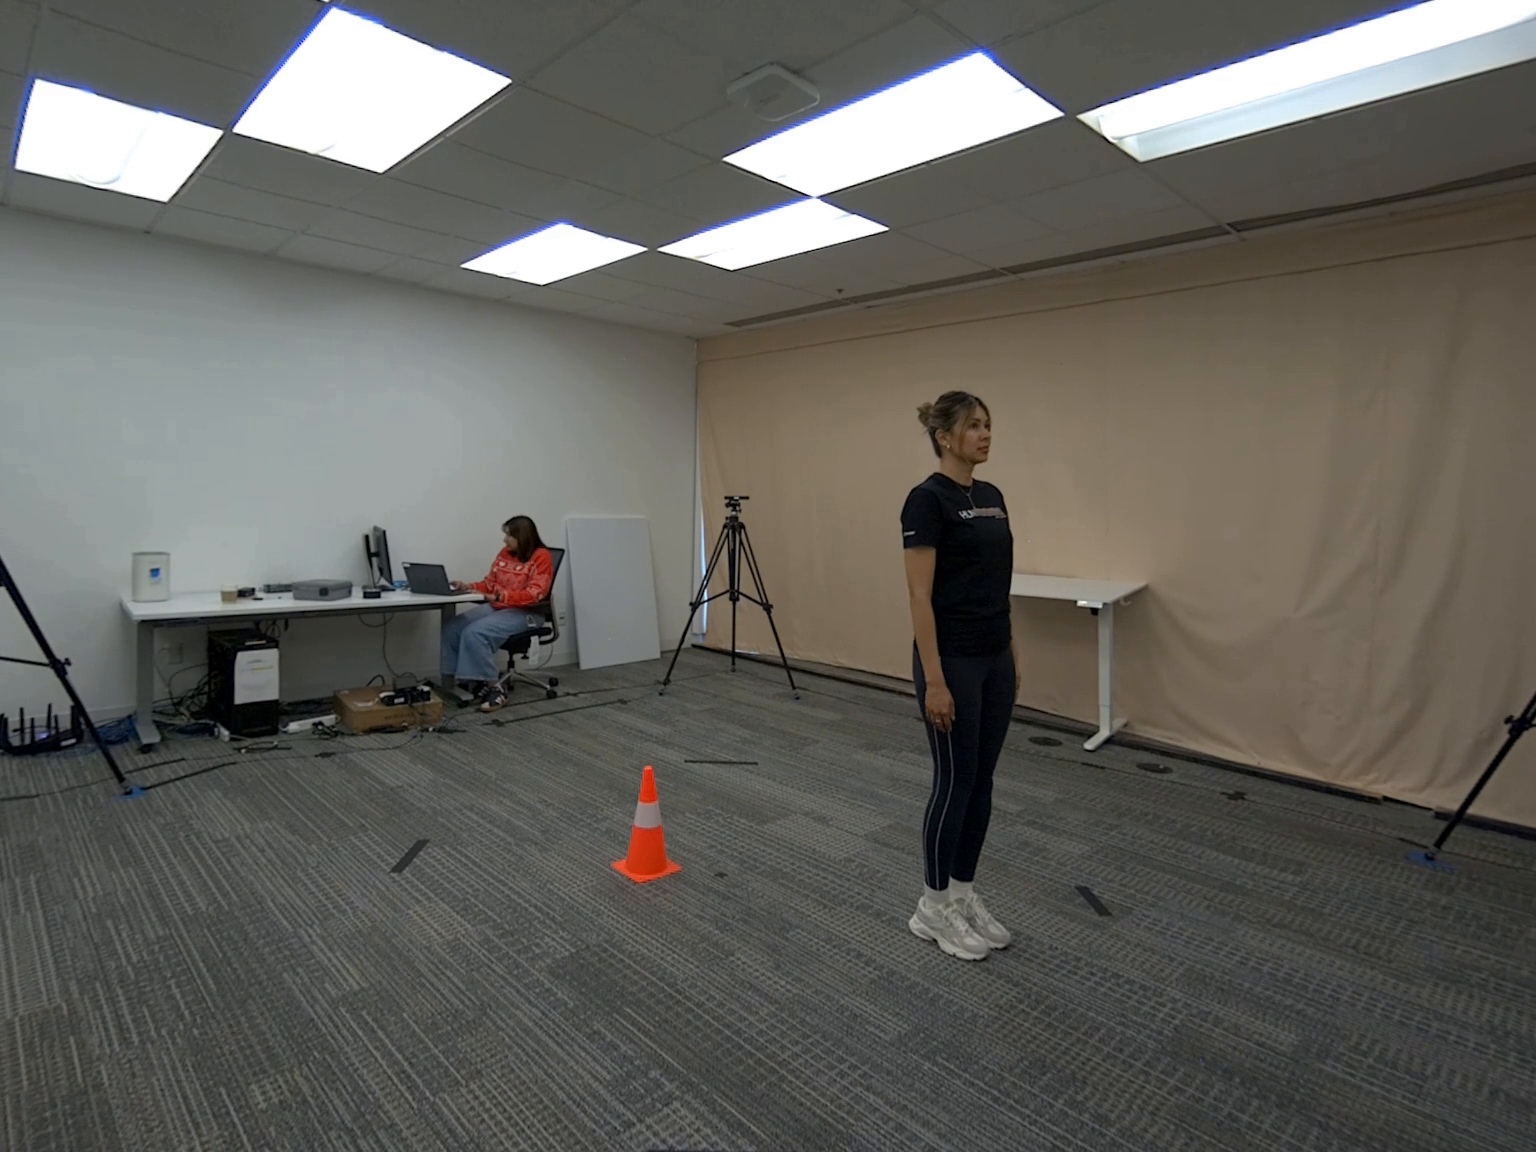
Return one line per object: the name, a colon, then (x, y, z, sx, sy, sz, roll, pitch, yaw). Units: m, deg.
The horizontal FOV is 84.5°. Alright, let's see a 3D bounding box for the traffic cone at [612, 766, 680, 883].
traffic cone: (-0.466, 0.912, 3.147, 0.201, 0.383, 0.208, -1, 4, -31)
